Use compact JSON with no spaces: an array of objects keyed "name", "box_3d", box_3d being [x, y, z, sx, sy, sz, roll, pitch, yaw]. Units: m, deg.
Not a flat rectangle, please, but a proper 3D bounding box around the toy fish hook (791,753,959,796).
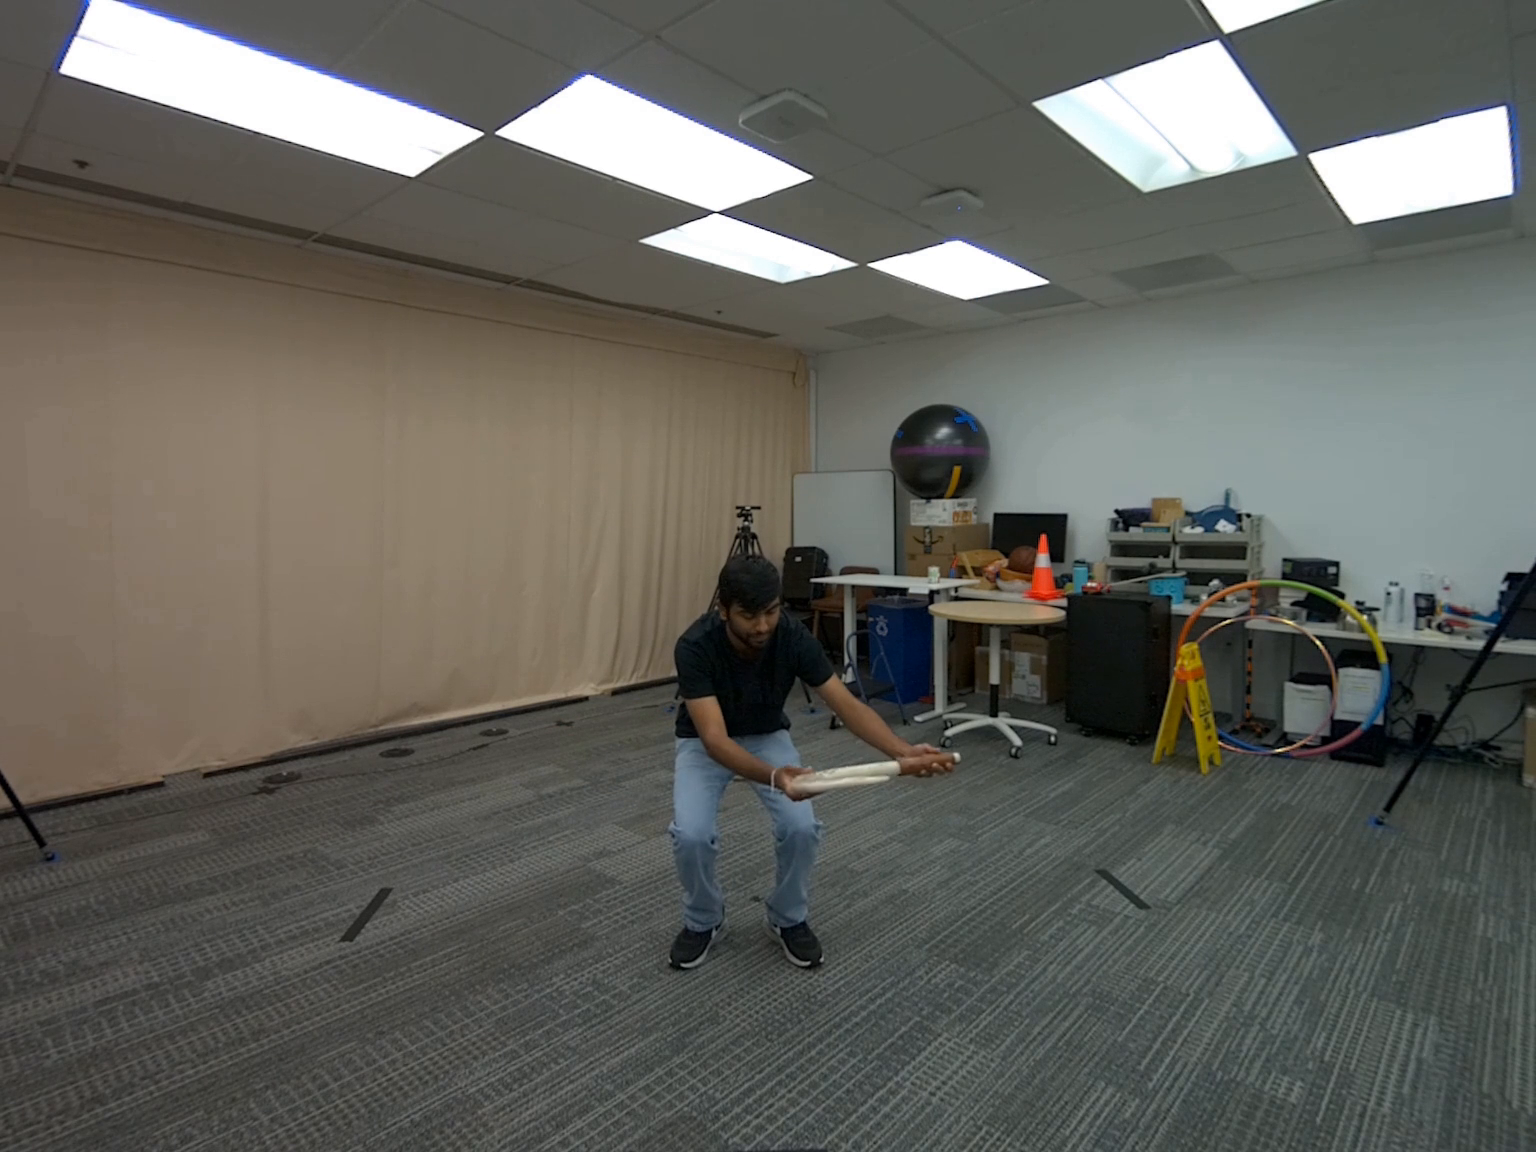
[{"name":"toy fish hook","box_3d":[0.291,0.488,2.094,0.497,0.048,0.228,-5,-4,-20]}]
